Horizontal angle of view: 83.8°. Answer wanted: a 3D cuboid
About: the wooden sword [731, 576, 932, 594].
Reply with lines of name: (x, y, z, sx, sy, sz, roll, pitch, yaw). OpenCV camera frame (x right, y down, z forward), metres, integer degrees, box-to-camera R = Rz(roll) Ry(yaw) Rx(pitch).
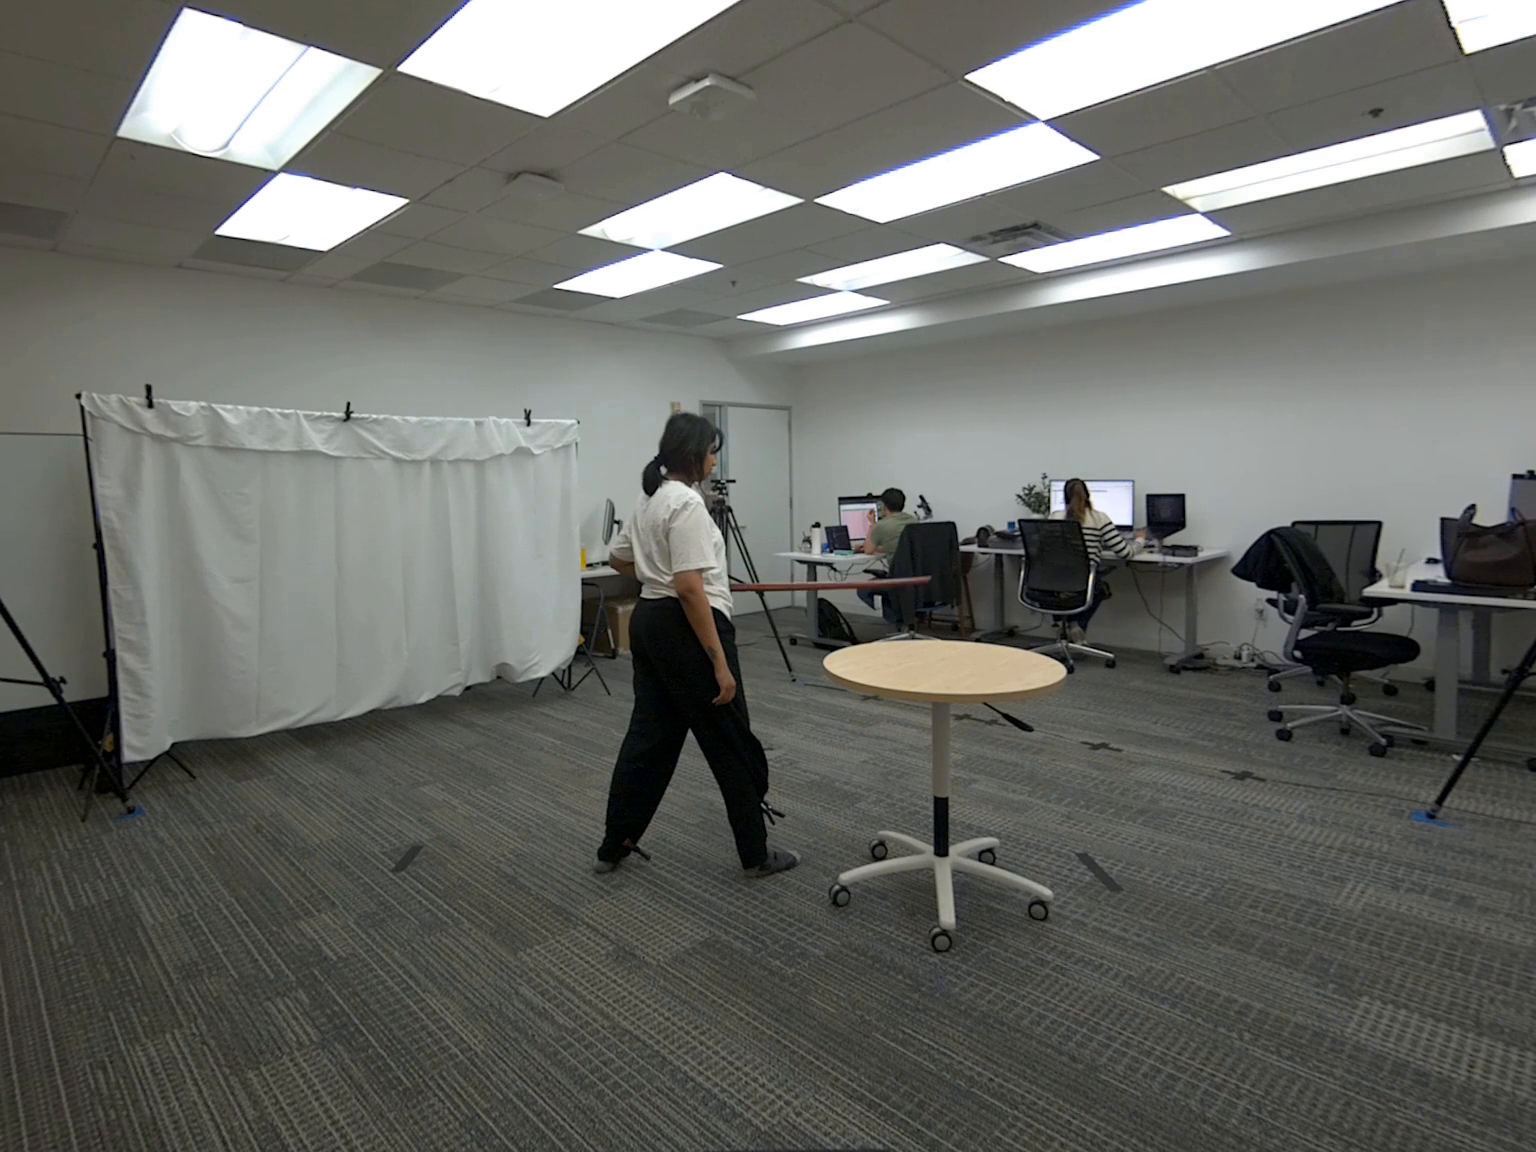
wooden sword: (0.146, 0.041, 3.391, 1.017, 0.024, 0.052, -1, 20, -7)
